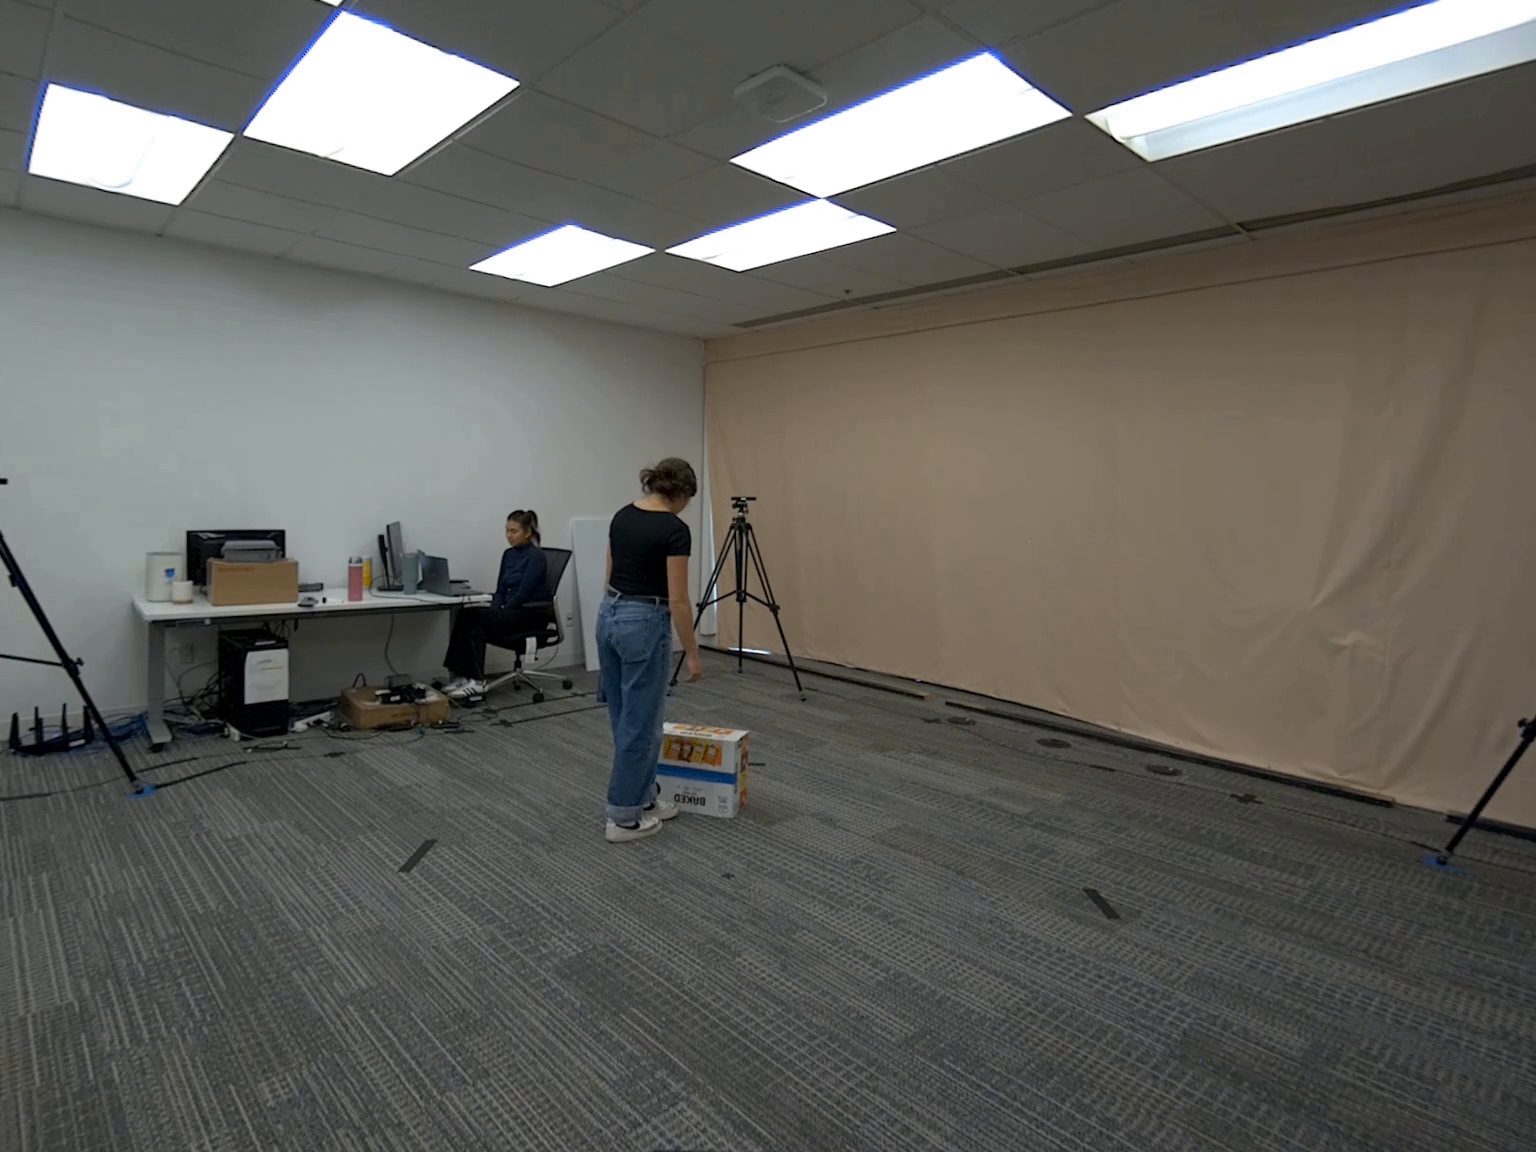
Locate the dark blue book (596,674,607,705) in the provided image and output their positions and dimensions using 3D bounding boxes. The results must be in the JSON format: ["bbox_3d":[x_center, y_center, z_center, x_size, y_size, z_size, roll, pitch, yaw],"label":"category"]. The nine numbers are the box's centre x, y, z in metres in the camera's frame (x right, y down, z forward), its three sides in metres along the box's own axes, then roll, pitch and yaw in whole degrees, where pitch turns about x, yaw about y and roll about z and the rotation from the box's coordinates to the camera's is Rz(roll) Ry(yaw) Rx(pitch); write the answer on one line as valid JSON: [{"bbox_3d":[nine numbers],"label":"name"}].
[{"bbox_3d":[-0.661,0.434,3.667,0.046,0.247,0.159,-5,-13,37],"label":"dark blue book"}]
